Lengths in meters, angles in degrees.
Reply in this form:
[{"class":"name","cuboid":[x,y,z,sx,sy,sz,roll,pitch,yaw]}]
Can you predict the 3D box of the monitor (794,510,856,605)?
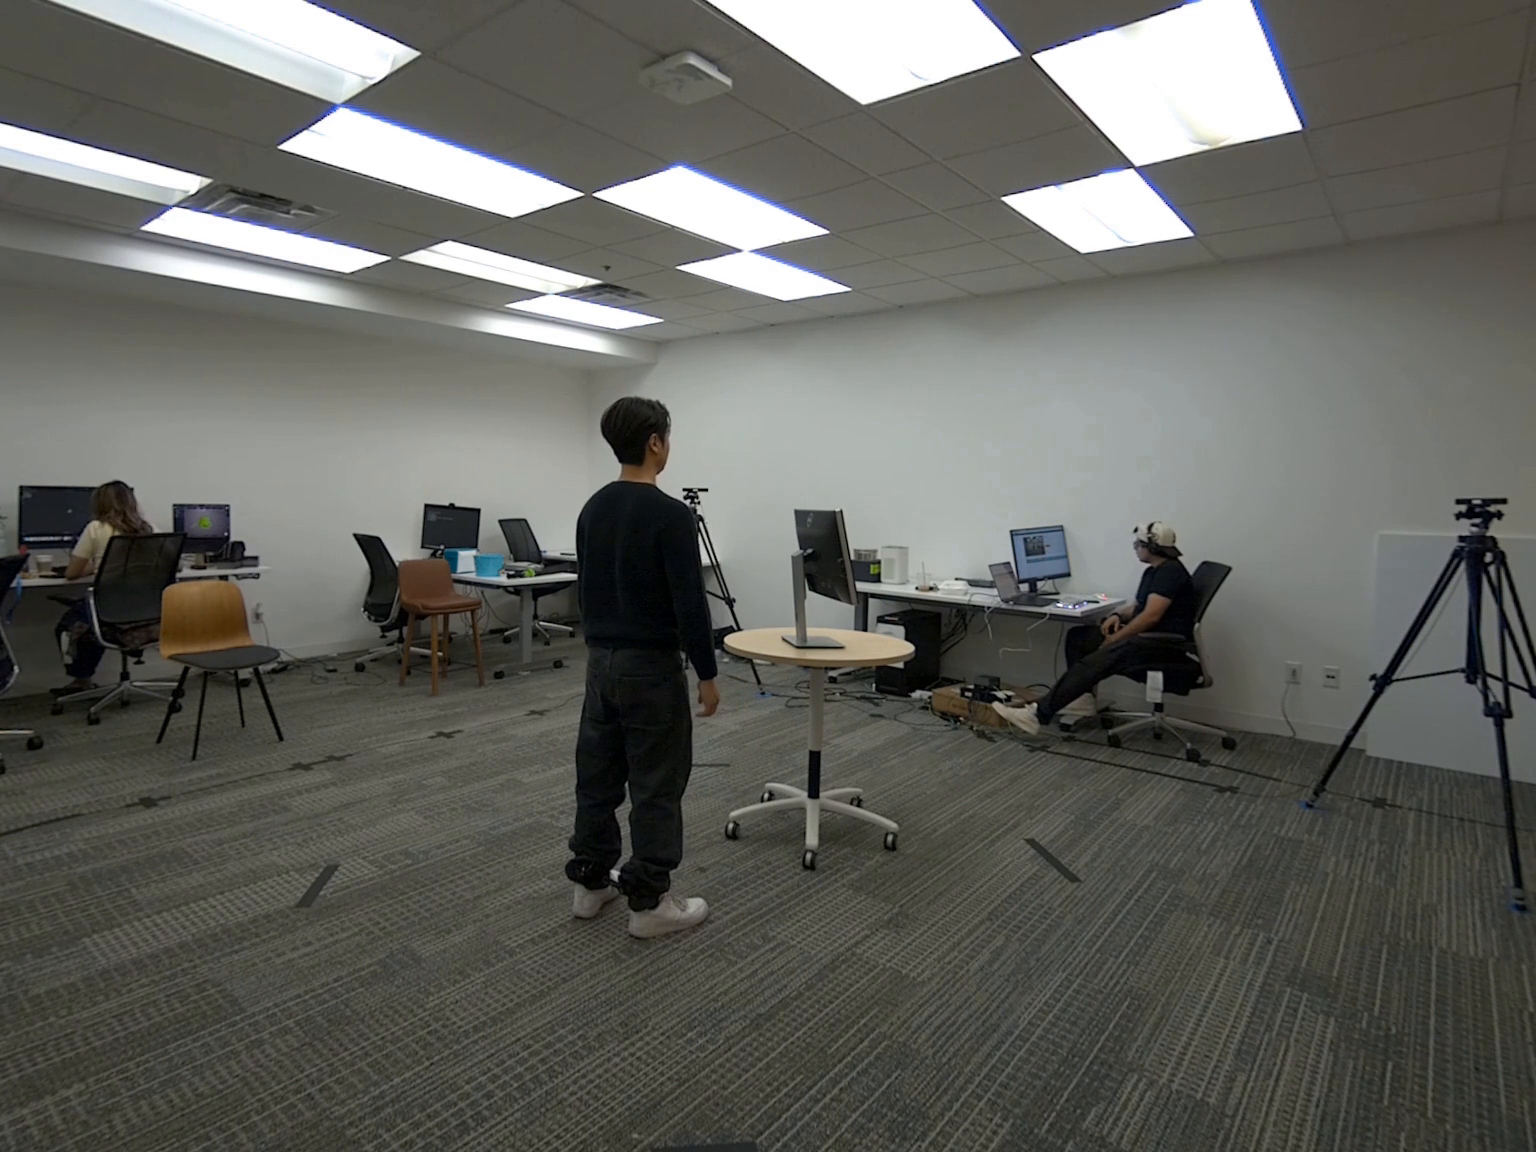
[{"class":"monitor","cuboid":[0.181,0.001,3.402,0.172,0.515,0.540,4,2,-16]}]
